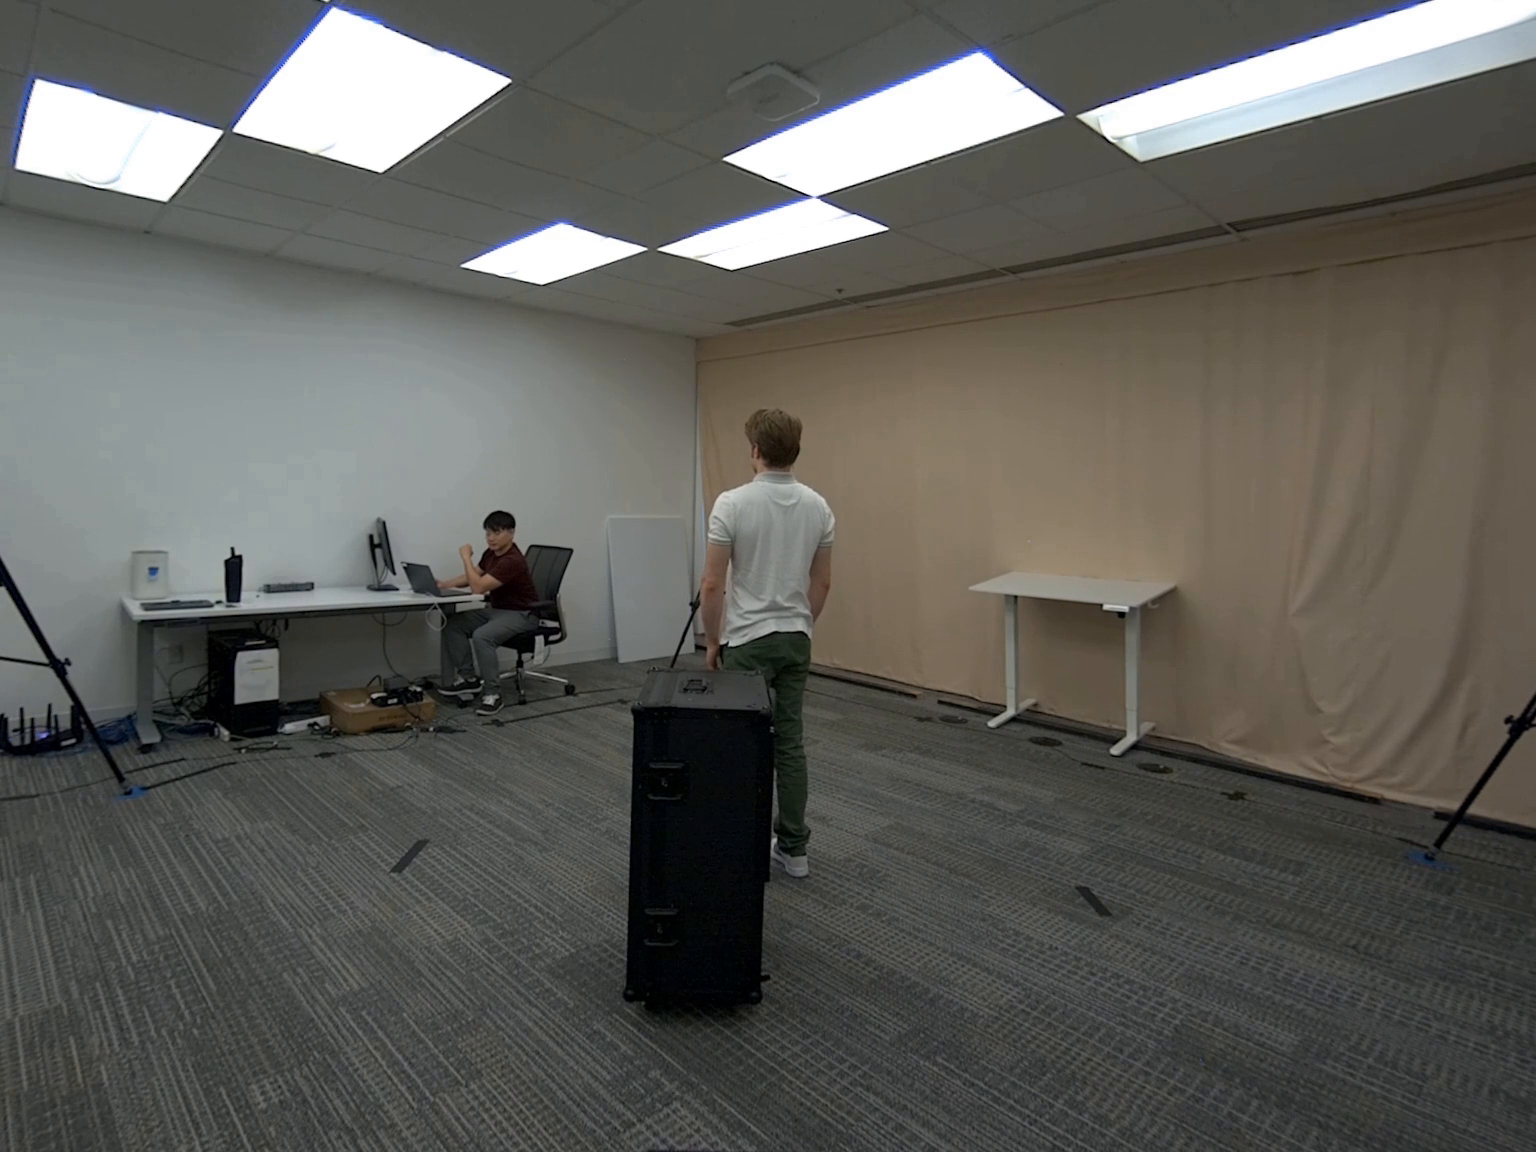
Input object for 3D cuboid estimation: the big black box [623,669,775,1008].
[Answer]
[{"bbox_3d":[-0.191,0.740,2.418,0.396,0.860,0.523,2,3,-2],"label":"big black box"}]
